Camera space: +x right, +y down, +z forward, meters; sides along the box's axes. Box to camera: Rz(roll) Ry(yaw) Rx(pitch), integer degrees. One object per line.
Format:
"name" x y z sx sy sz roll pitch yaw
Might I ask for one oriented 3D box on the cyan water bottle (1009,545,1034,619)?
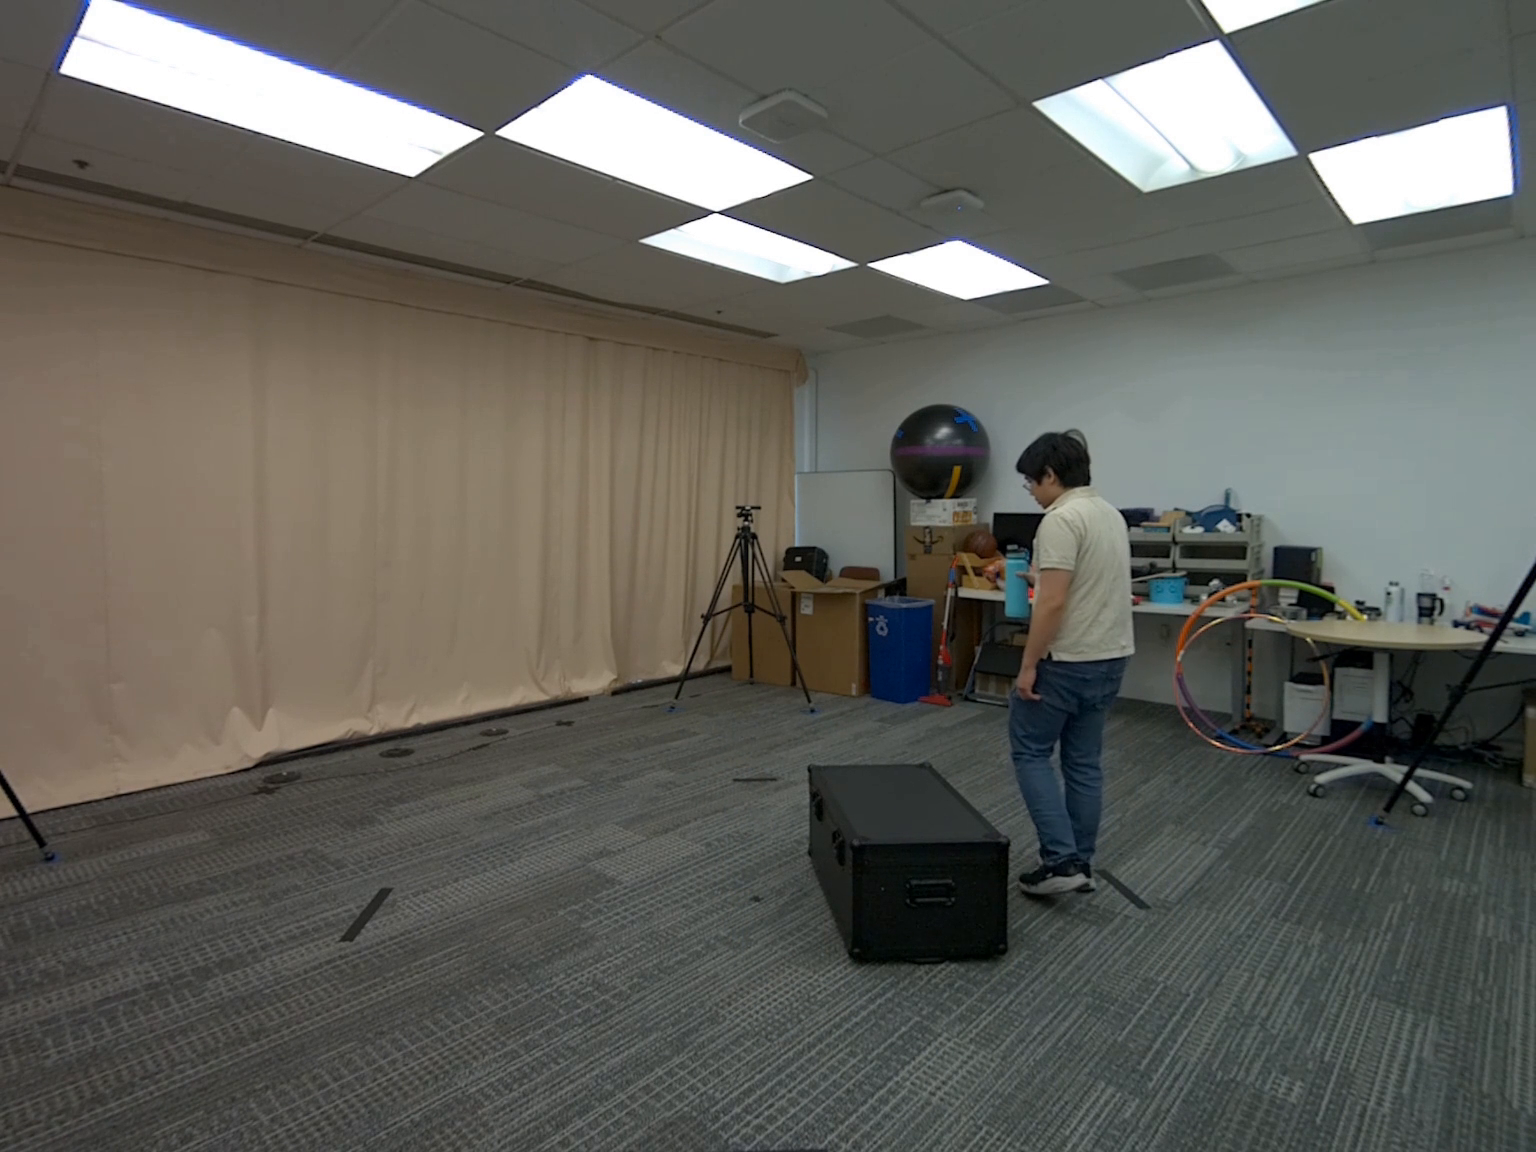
"cyan water bottle" 1.019 0.021 3.354 0.092 0.283 0.092 -1 1 -2
